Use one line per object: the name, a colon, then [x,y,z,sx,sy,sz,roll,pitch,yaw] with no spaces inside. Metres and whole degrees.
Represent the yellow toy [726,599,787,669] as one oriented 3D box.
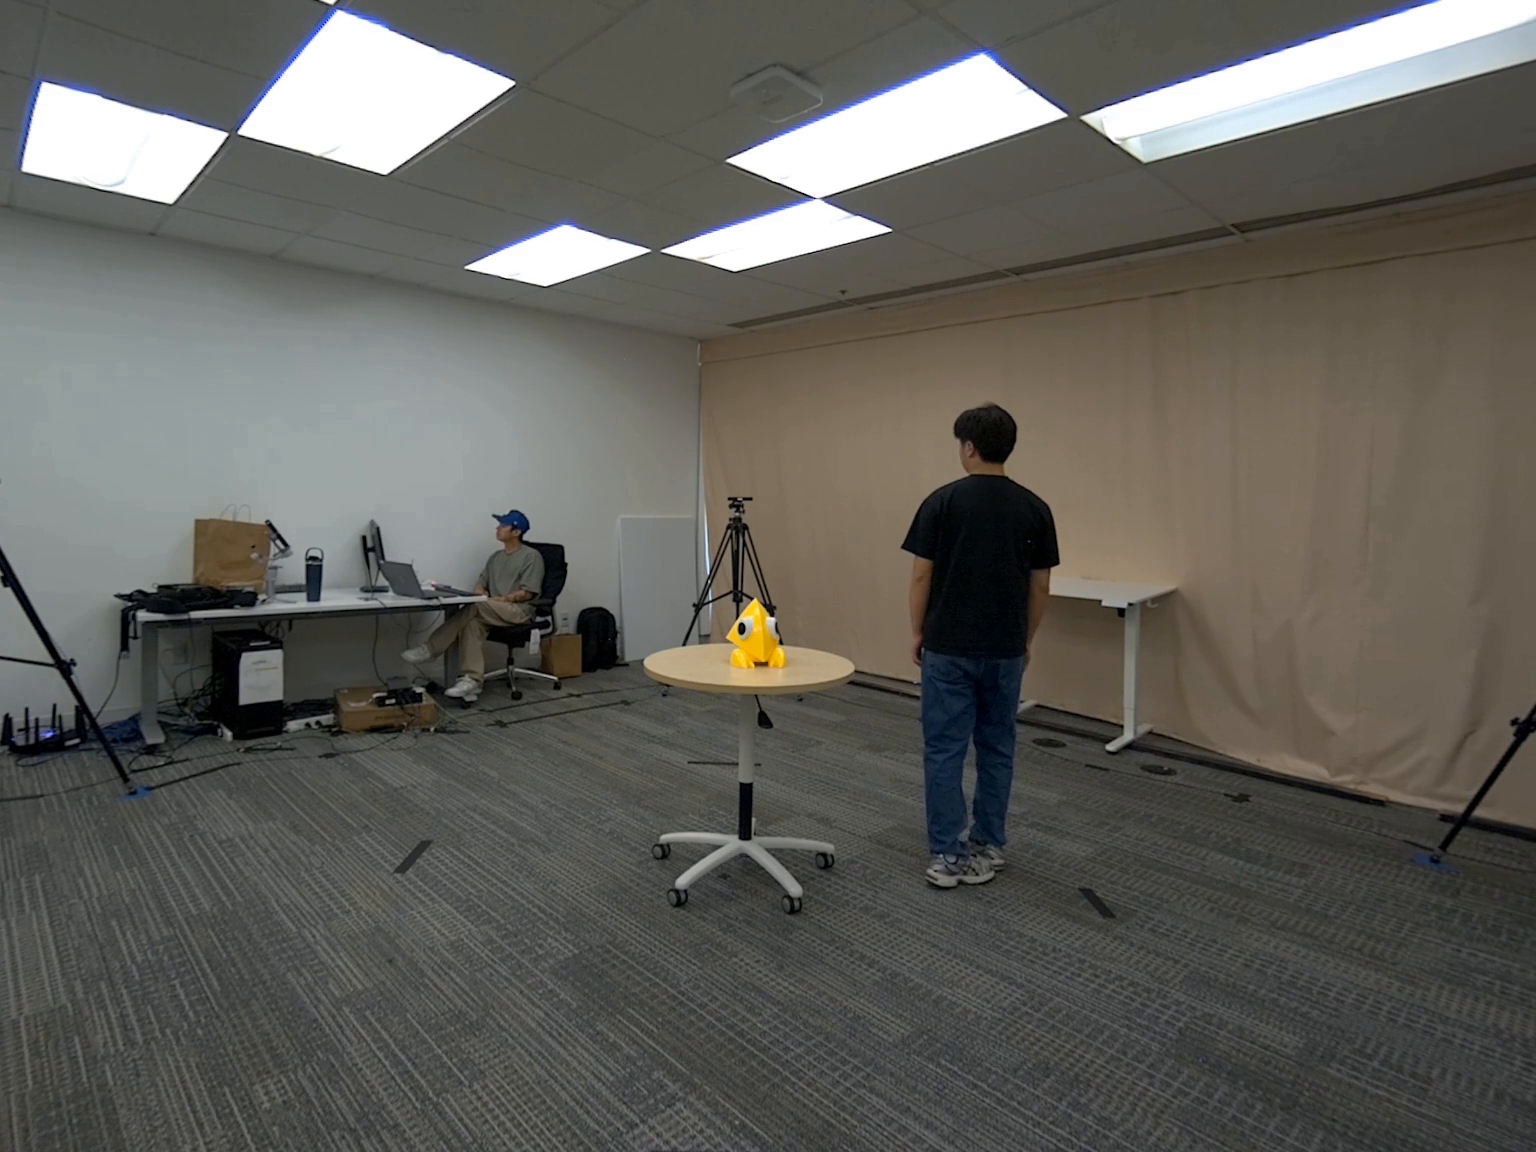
yellow toy: [-0.040,0.201,3.048,0.203,0.230,0.195,0,3,-12]
